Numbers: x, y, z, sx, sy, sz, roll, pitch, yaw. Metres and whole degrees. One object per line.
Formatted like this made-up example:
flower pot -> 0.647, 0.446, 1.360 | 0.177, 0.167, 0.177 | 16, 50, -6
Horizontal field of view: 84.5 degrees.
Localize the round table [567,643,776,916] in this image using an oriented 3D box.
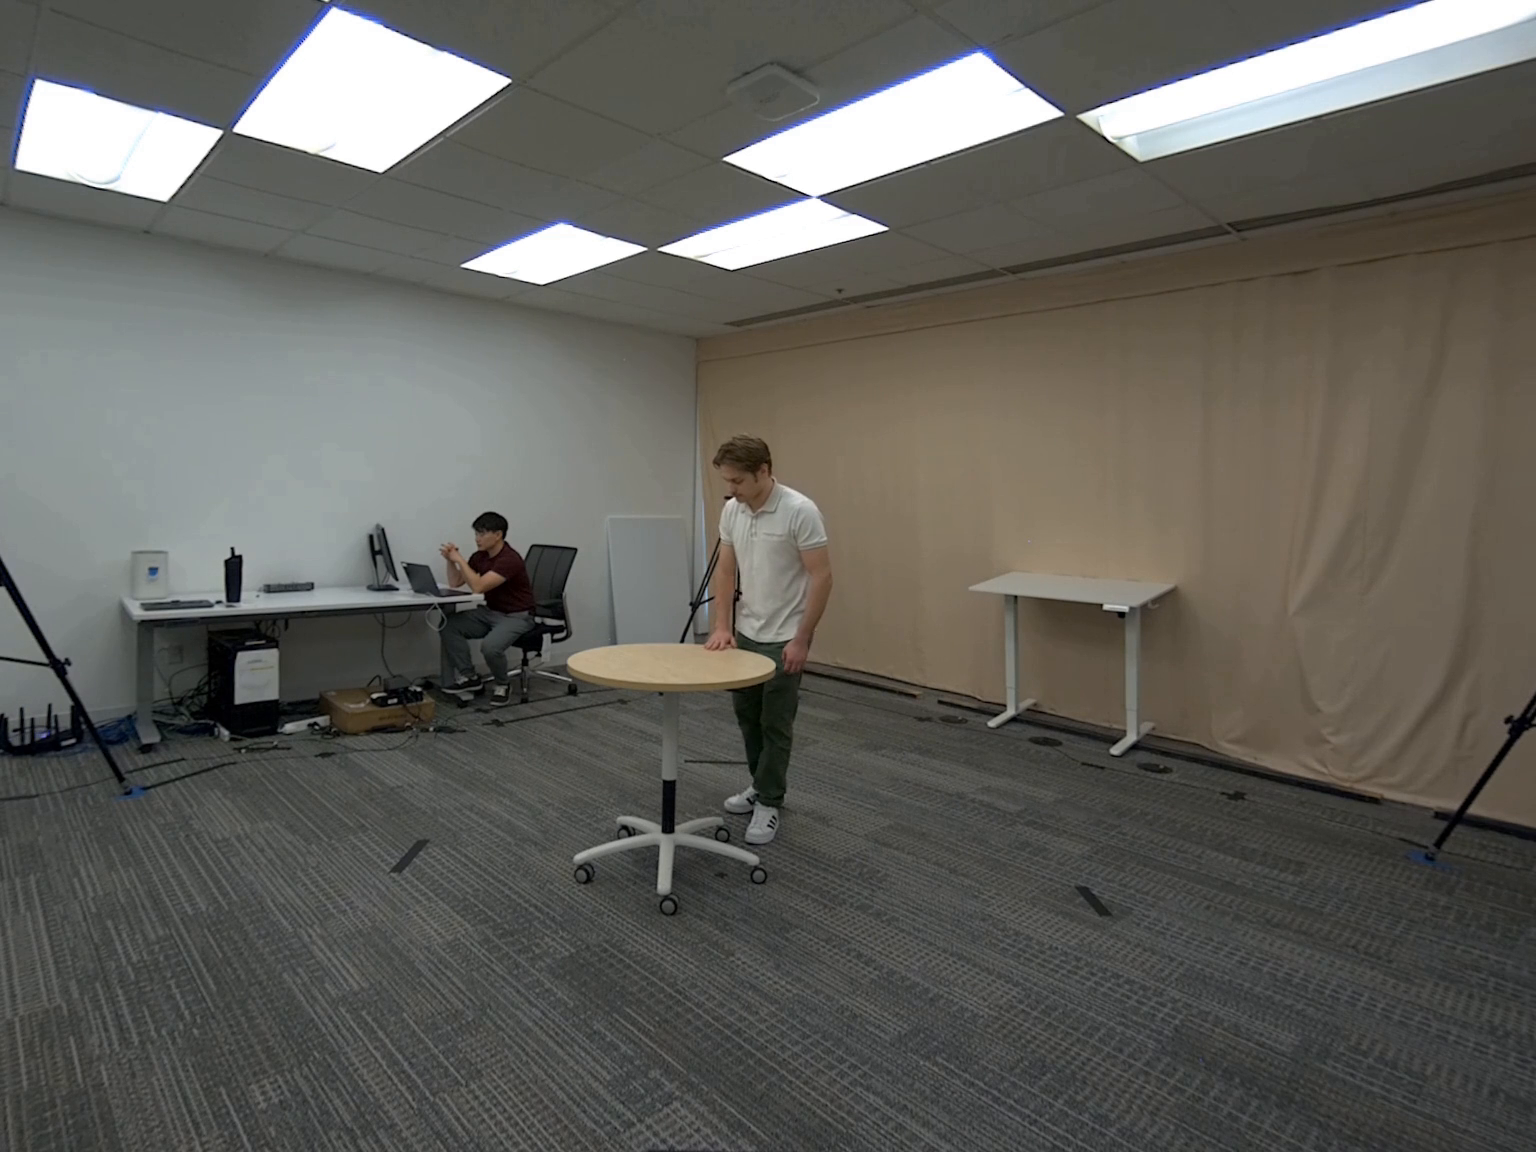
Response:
round table -> -0.383, 0.703, 3.121 | 0.784, 0.785, 0.787 | 2, 4, -1
